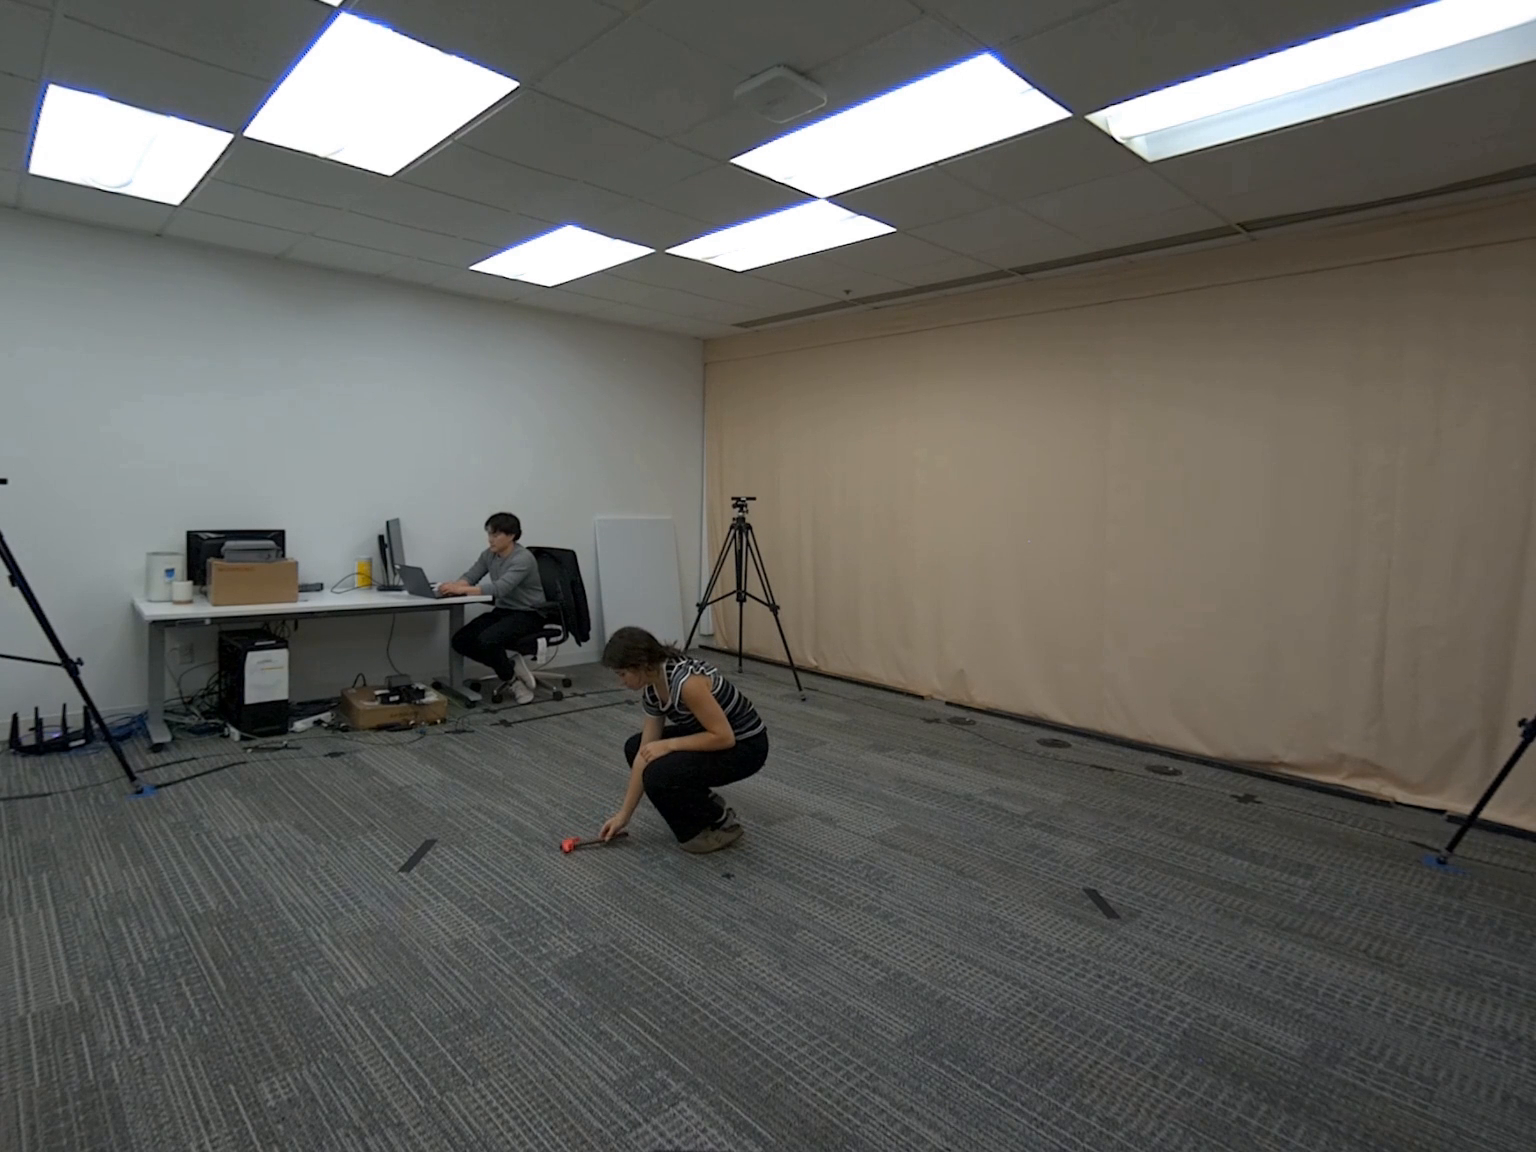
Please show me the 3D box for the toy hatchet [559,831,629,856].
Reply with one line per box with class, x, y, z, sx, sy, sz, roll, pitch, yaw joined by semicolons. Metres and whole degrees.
toy hatchet;-0.702;1.039;3.355;0.265;0.029;0.133;-5;2;-32
